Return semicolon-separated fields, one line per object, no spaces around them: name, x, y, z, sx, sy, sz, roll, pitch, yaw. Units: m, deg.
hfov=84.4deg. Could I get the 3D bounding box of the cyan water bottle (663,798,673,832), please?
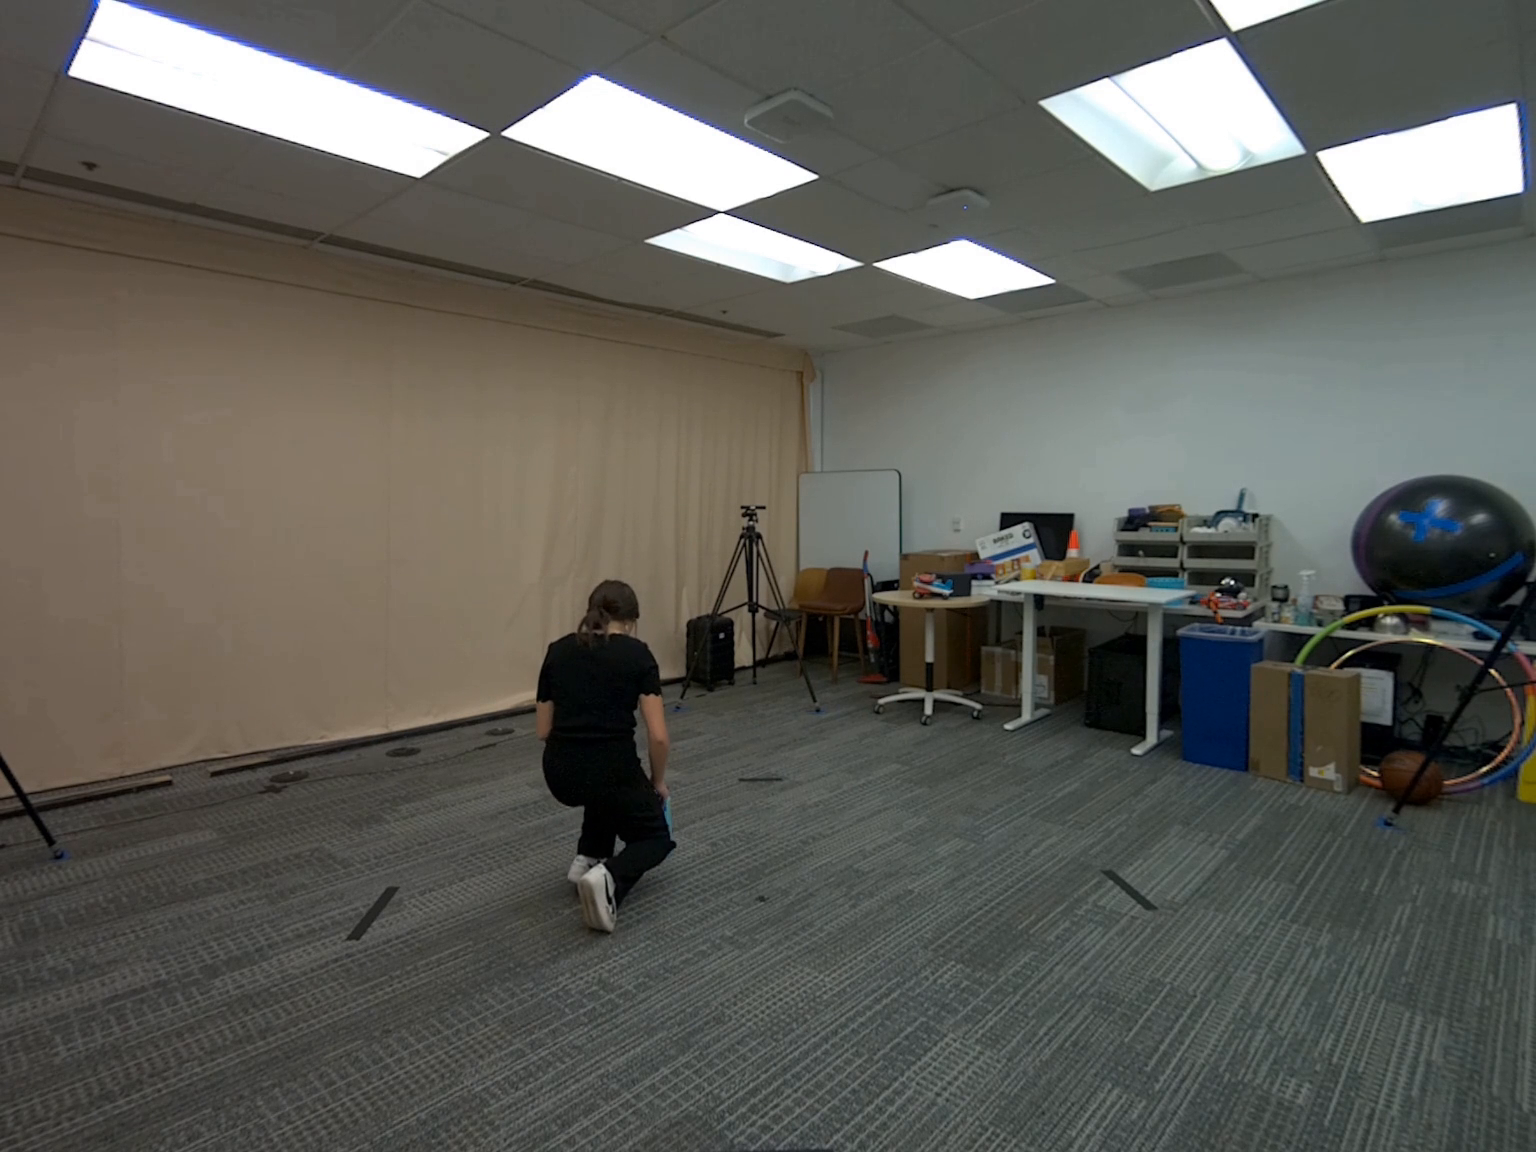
cyan water bottle;-0.439;0.975;3.392;0.092;0.283;0.092;-2;3;-2
